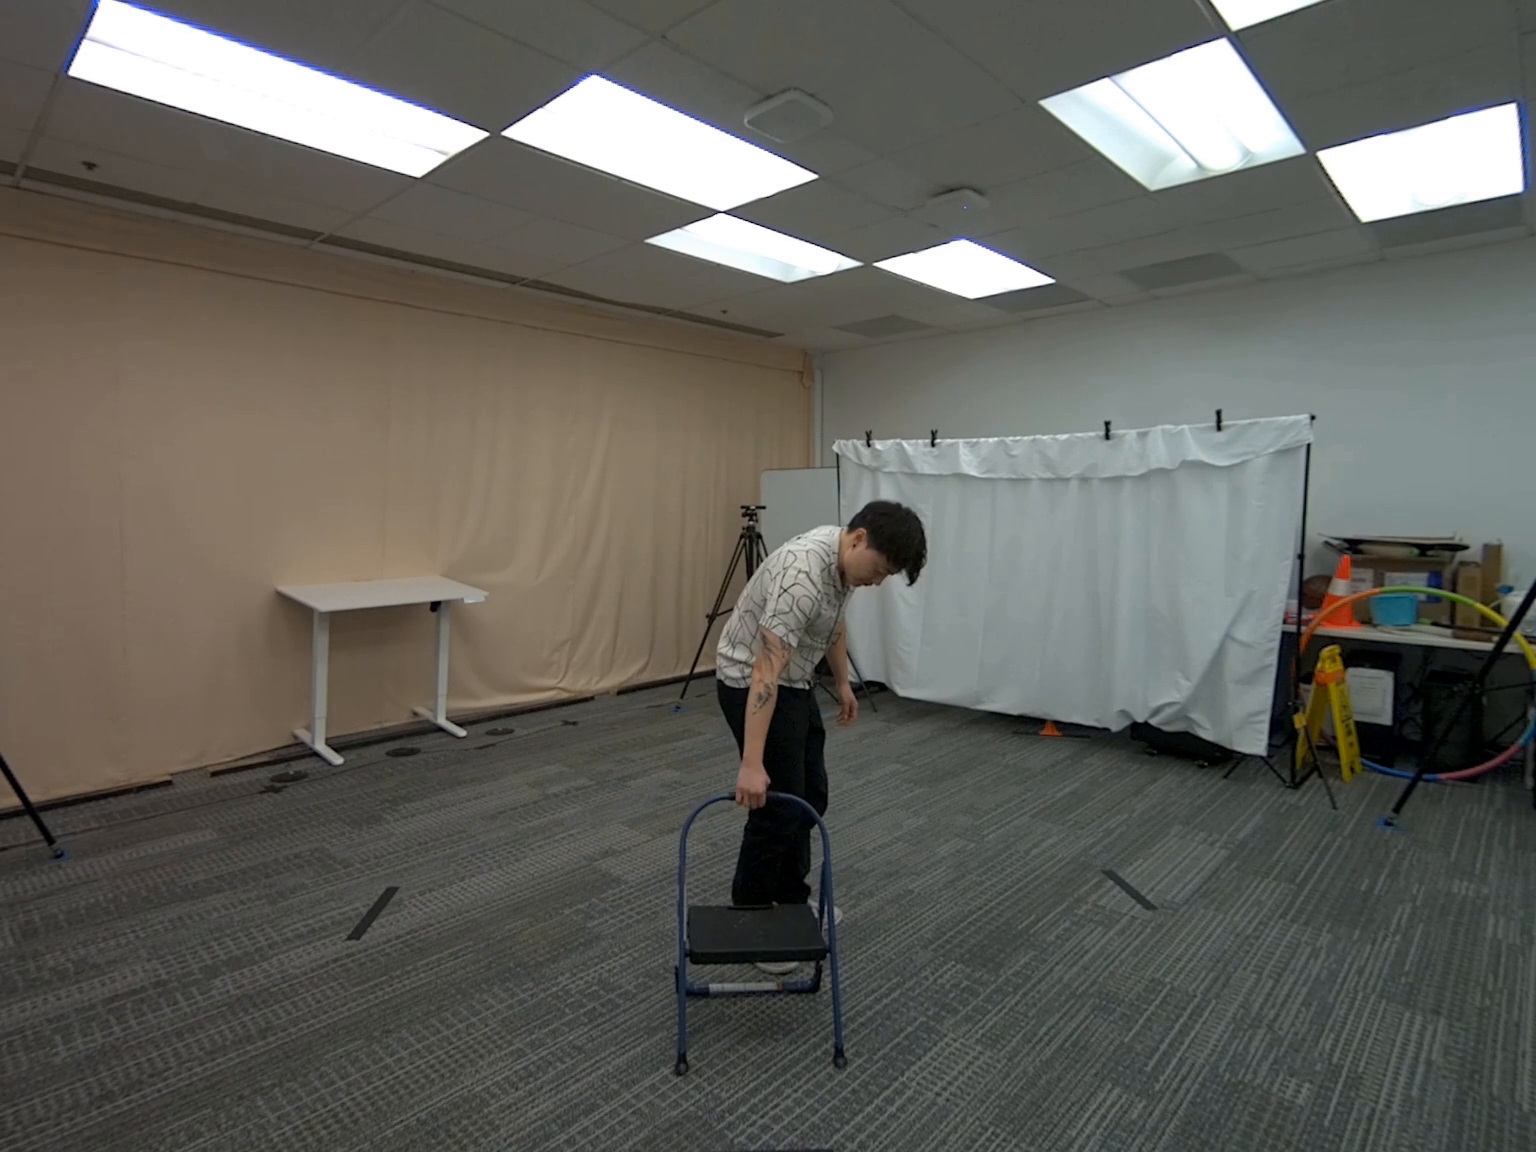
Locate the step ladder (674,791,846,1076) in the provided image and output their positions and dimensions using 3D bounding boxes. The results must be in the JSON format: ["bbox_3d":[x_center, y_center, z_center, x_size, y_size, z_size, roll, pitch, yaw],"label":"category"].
[{"bbox_3d":[-0.036,0.904,2.222,0.429,0.605,0.351,1,3,-5],"label":"step ladder"}]
